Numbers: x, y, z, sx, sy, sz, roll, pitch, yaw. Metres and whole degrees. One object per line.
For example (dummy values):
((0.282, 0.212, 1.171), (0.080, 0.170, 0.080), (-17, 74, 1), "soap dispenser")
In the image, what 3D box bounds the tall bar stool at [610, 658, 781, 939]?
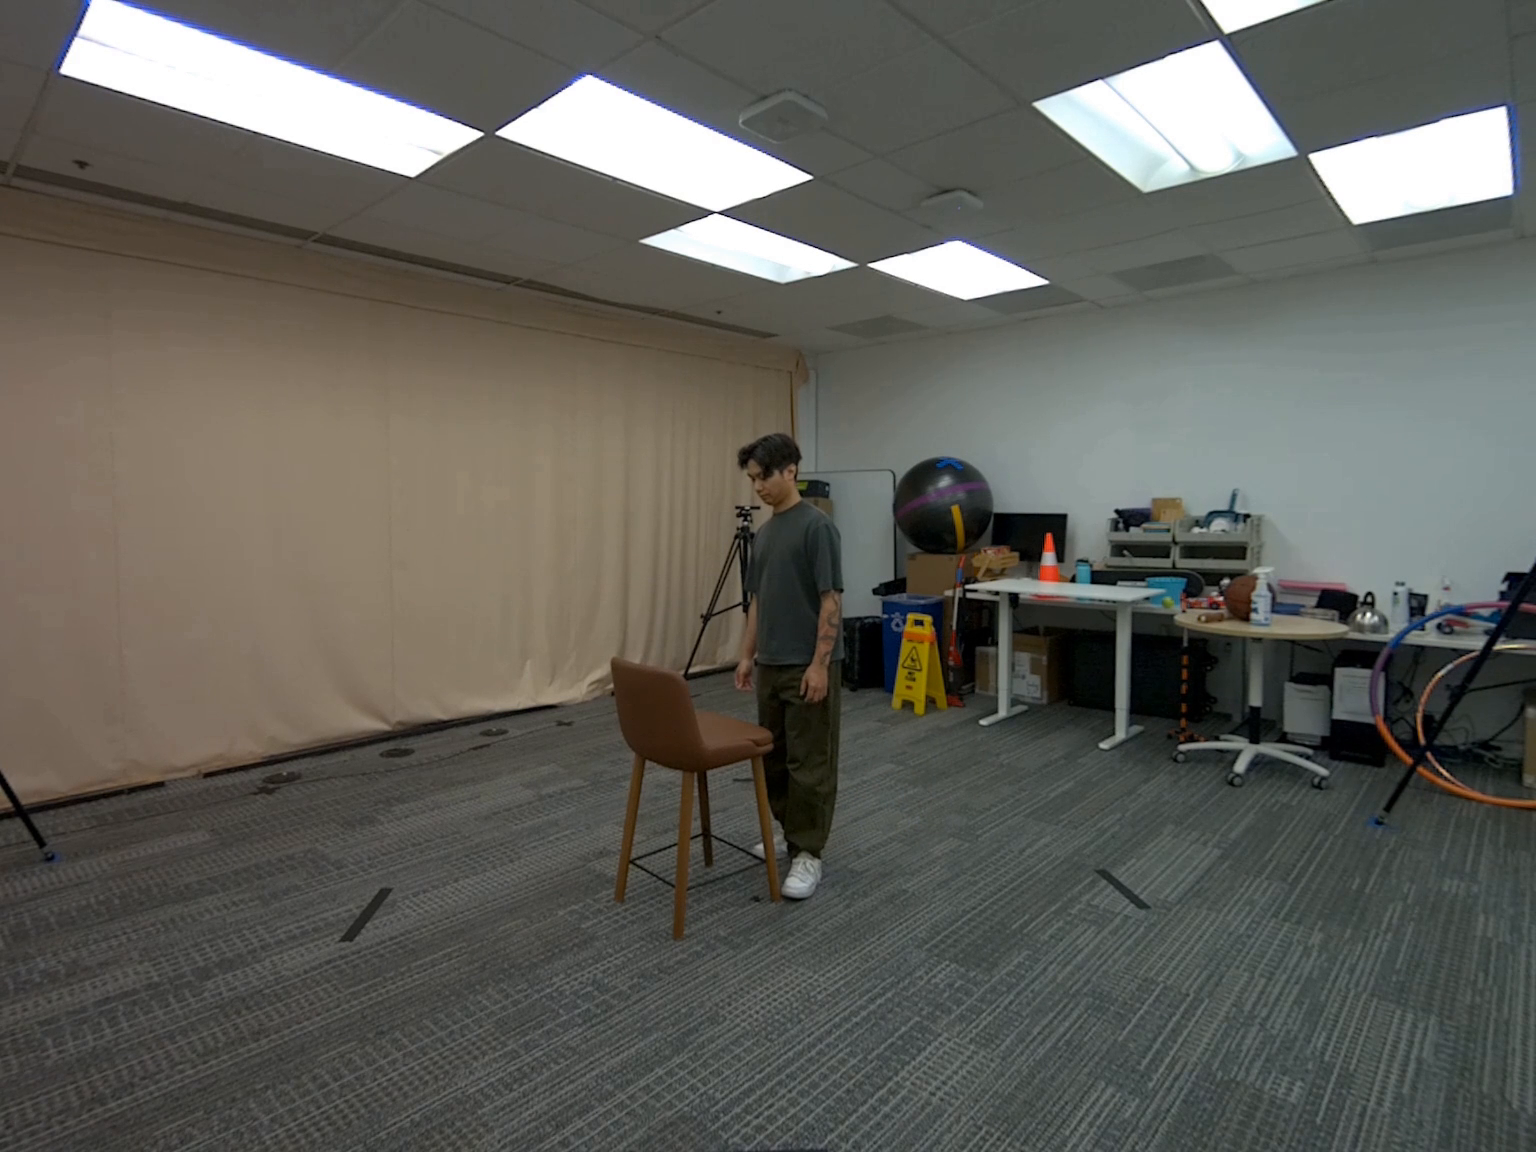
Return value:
((-0.254, 0.711, 2.954), (0.454, 0.887, 0.471), (-5, 6, -41), "tall bar stool")
